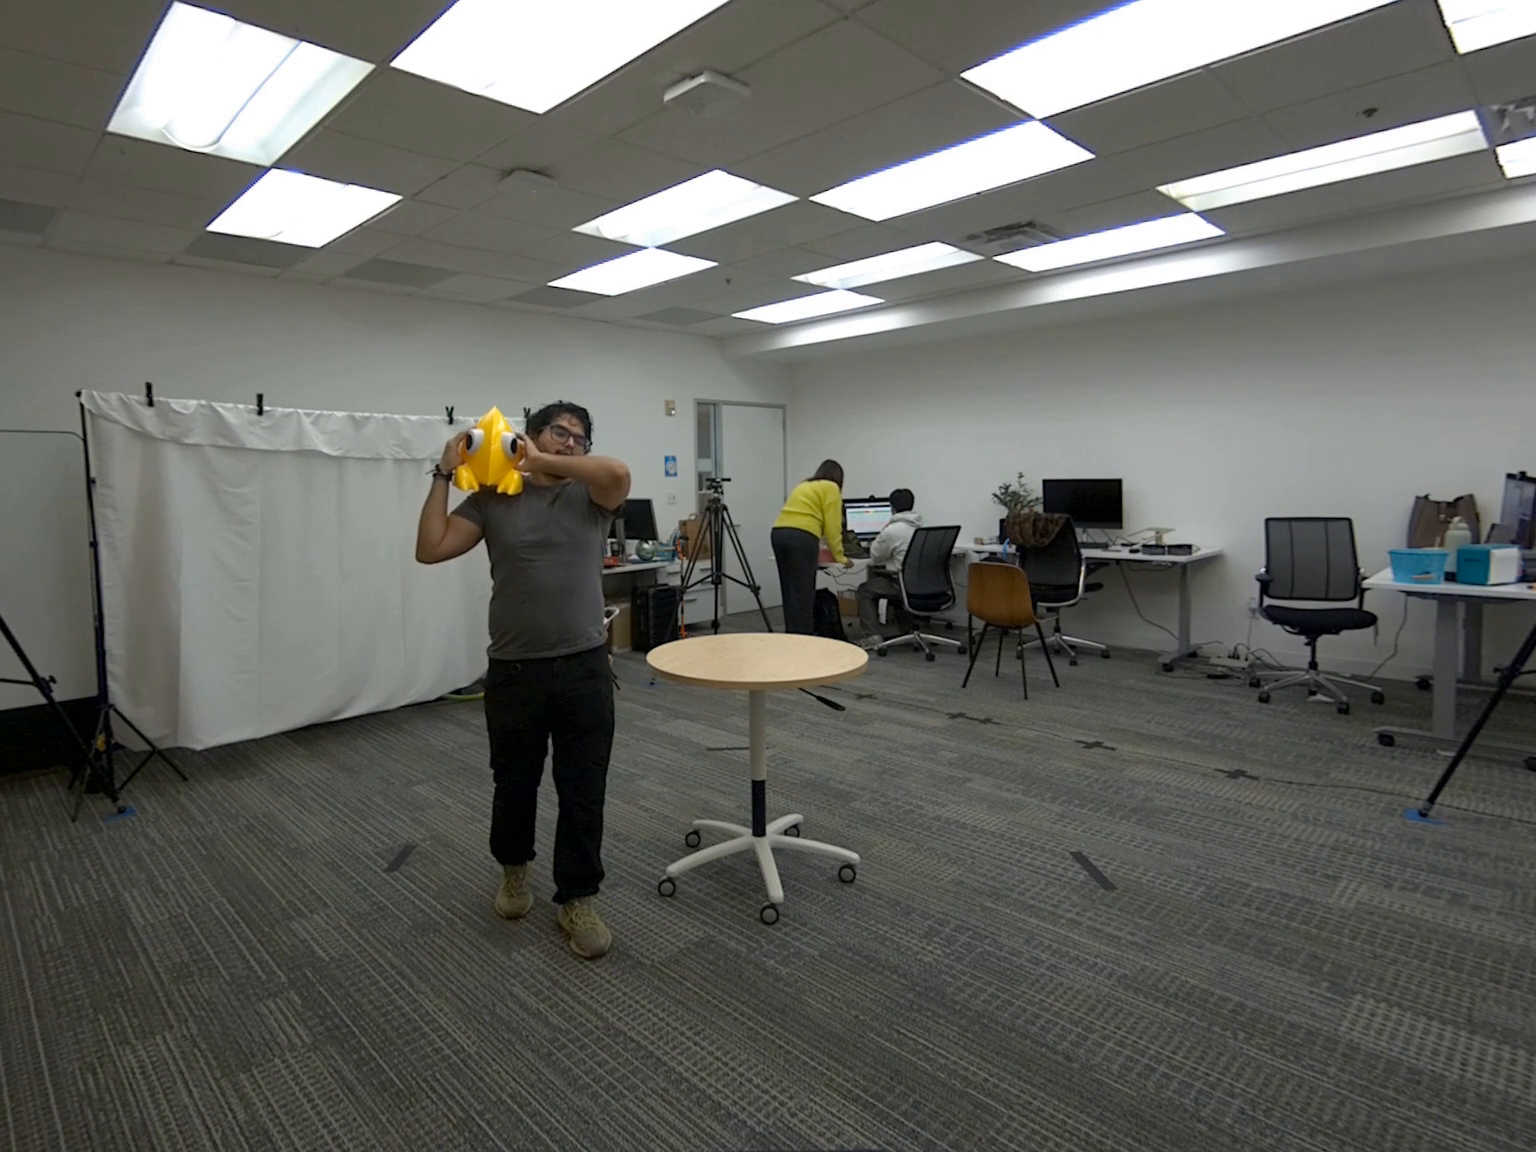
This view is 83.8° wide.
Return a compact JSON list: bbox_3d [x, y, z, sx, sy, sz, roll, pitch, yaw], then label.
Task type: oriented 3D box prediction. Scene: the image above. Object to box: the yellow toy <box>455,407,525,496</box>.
[{"bbox_3d":[-0.817,-0.381,2.538,0.201,0.228,0.199,5,18,-17],"label":"yellow toy"}]
